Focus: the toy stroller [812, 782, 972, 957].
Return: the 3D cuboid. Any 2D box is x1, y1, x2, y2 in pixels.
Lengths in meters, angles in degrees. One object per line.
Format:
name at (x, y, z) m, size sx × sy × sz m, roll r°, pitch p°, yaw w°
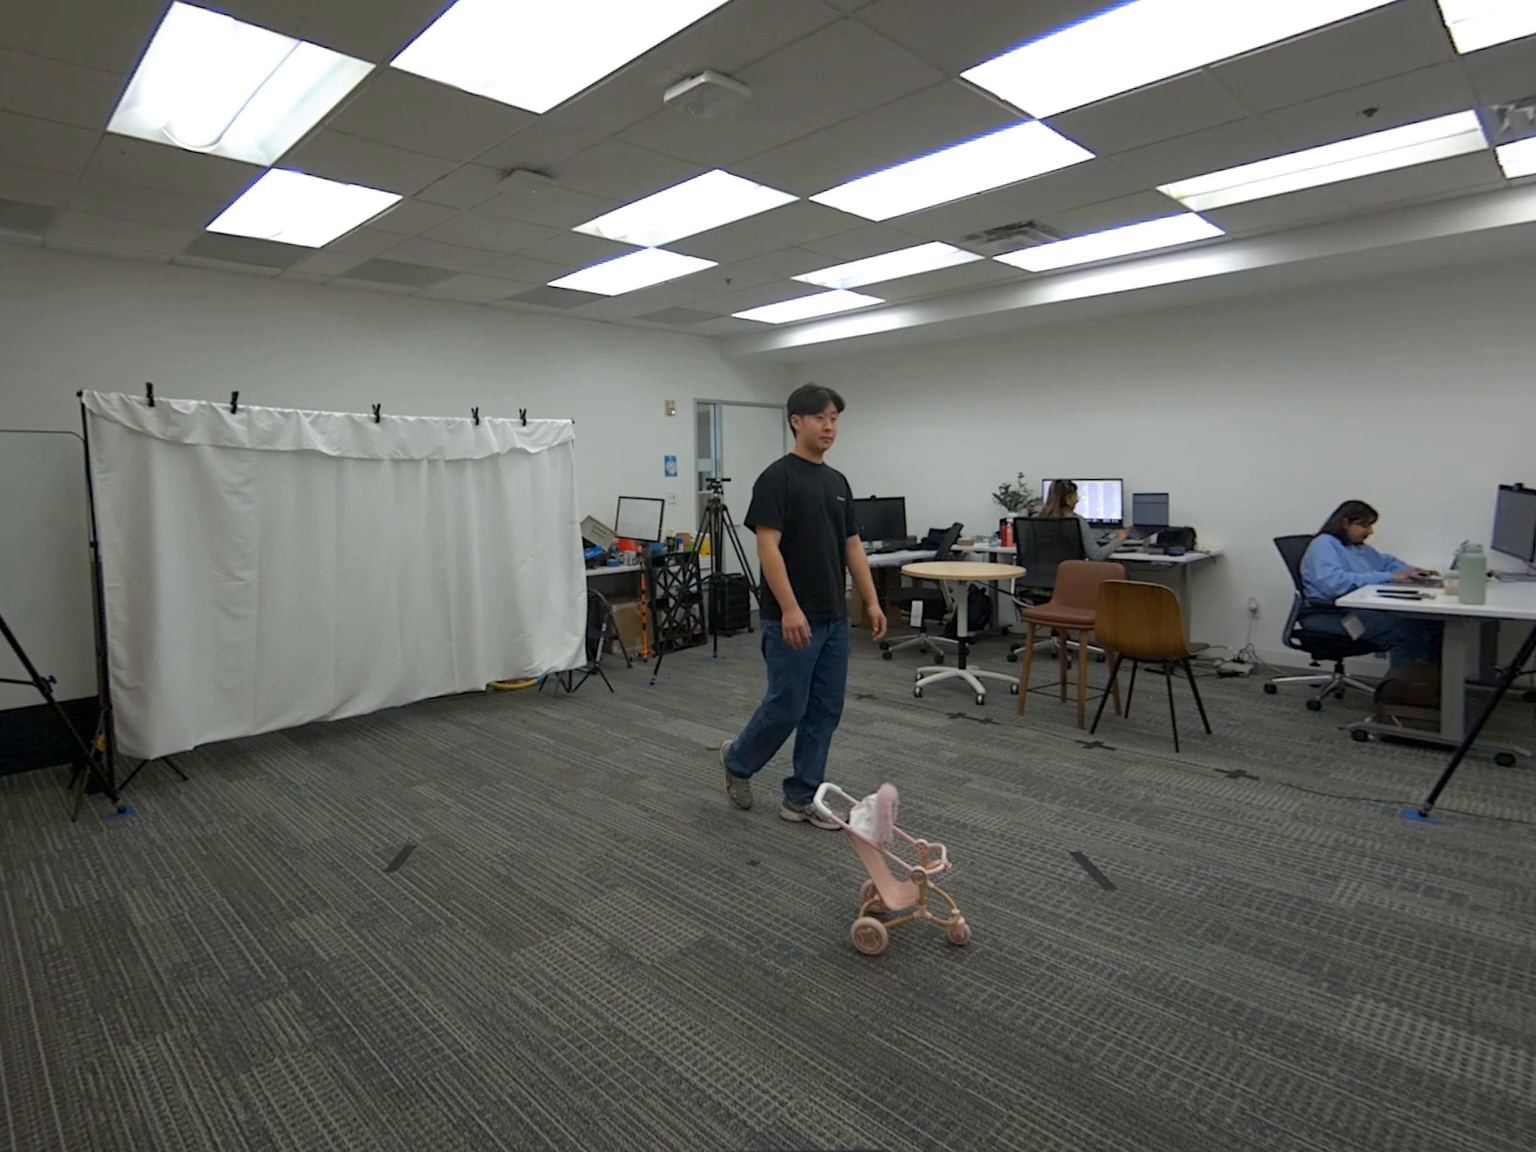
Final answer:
toy stroller at (0.384, 0.876, 2.584) m, size 0.346 × 0.536 × 0.277 m, roll -17°, pitch -1°, yaw 20°
